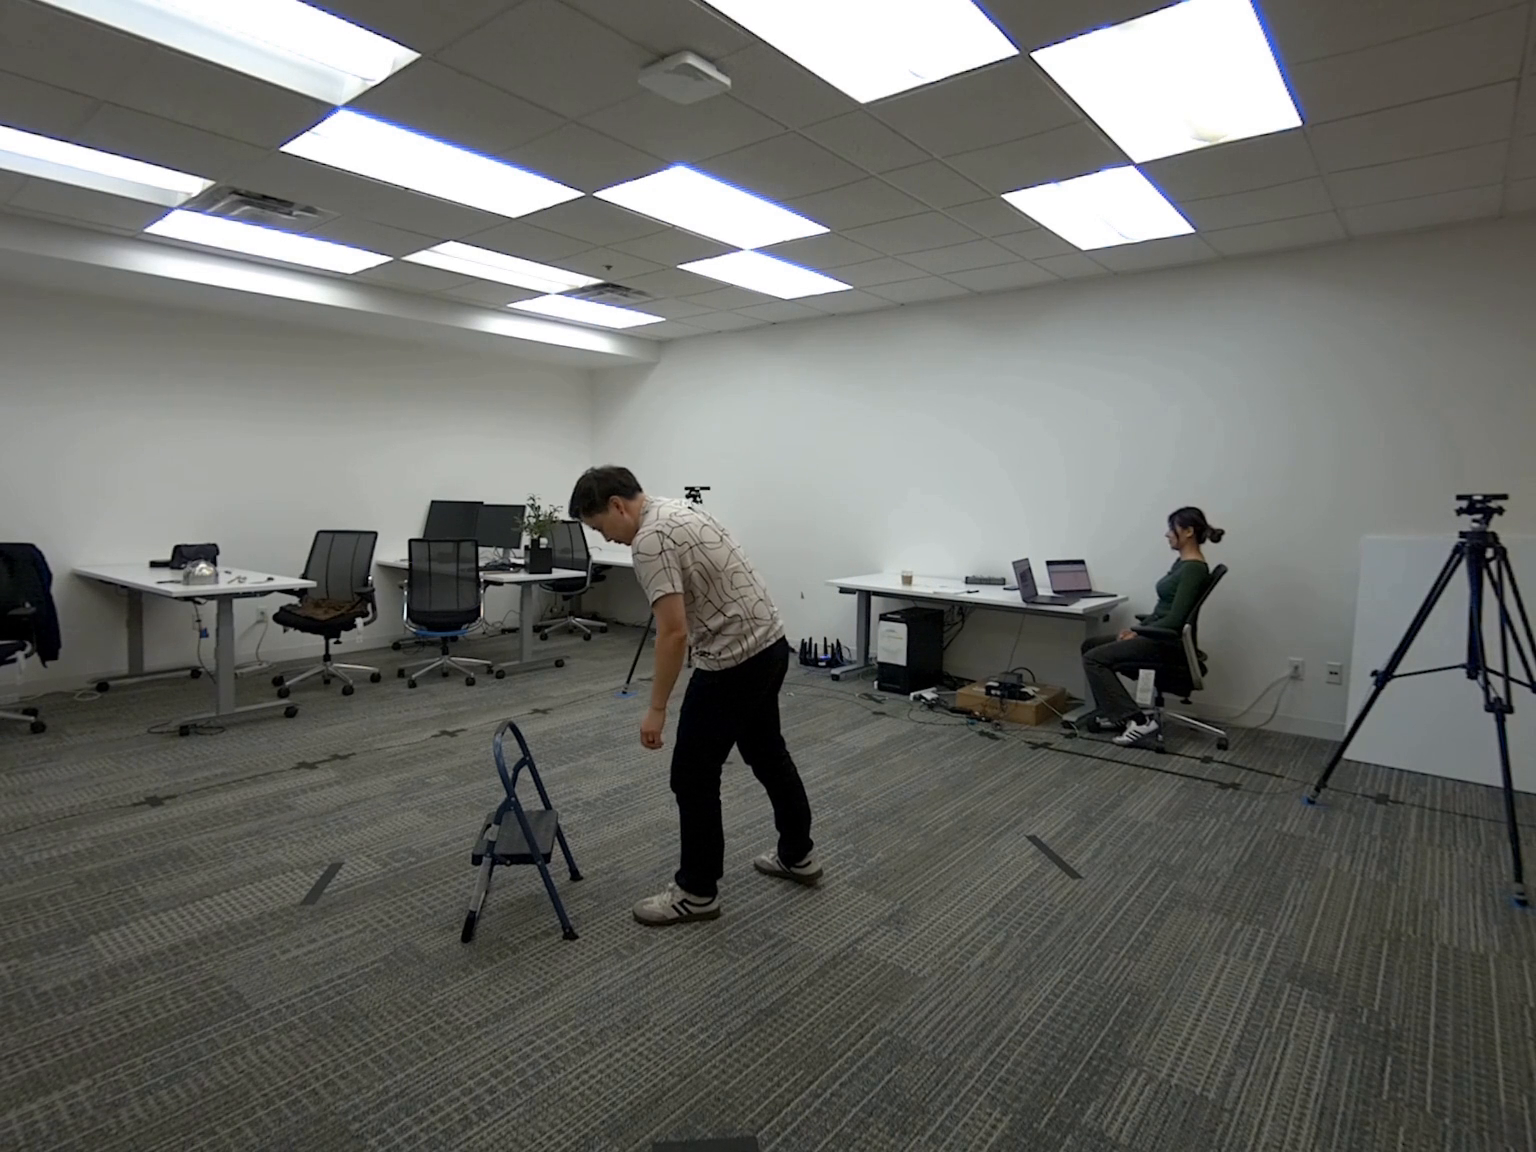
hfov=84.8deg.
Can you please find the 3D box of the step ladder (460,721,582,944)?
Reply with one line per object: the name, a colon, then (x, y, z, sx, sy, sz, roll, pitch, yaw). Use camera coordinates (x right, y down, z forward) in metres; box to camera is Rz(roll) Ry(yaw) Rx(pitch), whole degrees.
step ladder: (-0.804, 0.789, 2.780, 0.346, 0.604, 0.436, 1, 3, -9)
